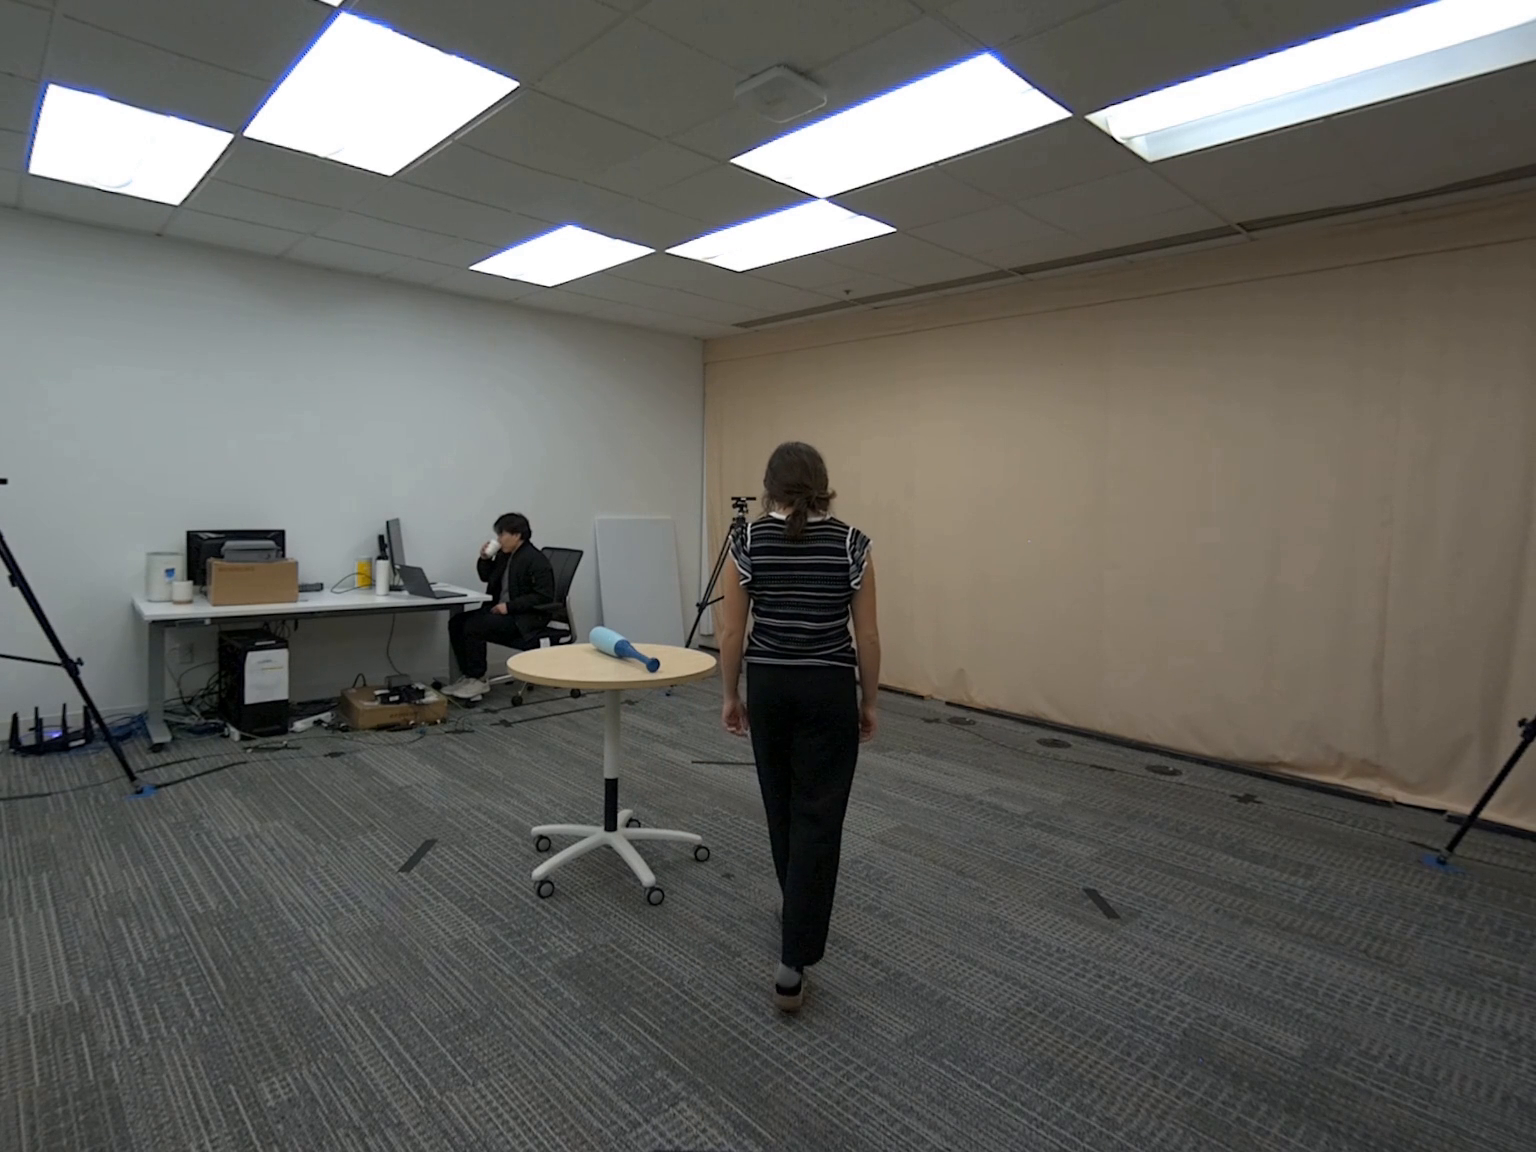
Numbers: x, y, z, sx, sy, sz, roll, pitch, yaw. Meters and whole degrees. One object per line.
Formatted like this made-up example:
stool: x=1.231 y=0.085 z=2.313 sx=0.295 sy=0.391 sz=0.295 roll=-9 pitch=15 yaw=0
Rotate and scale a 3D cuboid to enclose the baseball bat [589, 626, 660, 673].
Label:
baseball bat: x=-0.542 y=0.277 z=3.126 sx=0.087 sy=0.089 sz=0.556 roll=-1 pitch=7 yaw=-31
